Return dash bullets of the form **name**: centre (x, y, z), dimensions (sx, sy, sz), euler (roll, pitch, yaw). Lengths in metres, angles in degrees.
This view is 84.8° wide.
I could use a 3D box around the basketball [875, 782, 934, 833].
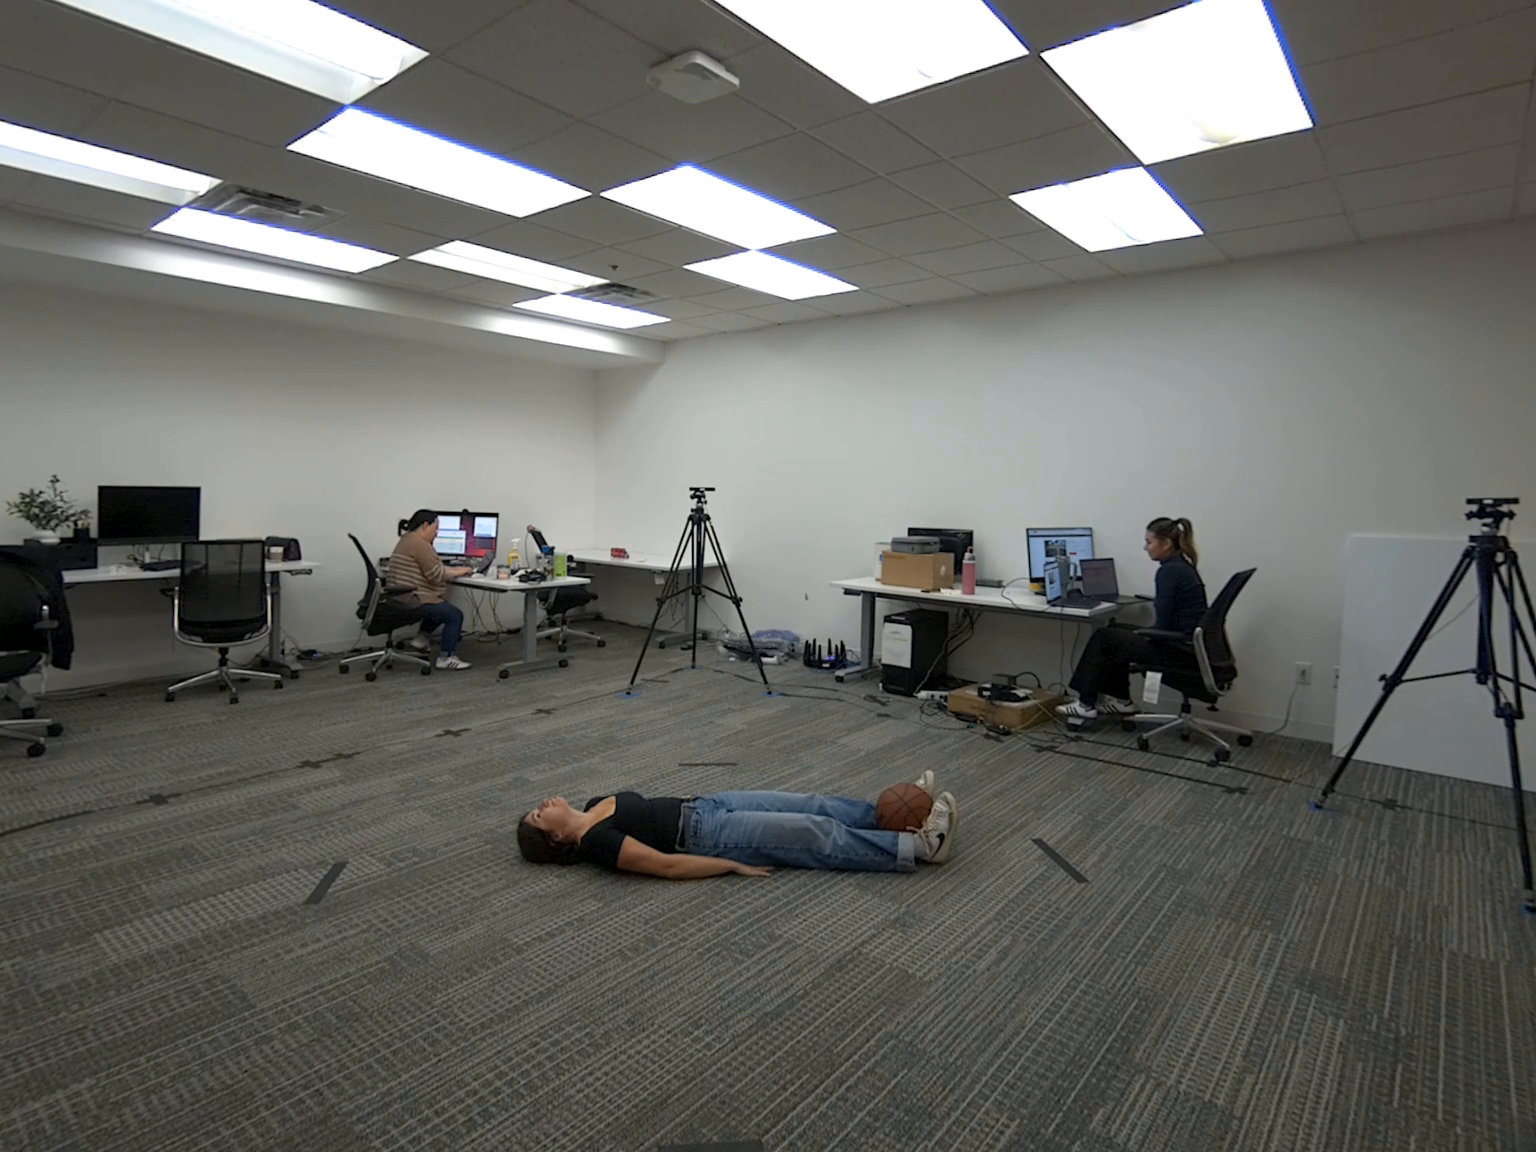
- **basketball**: centre (0.529, 0.926, 3.322), dimensions (0.235, 0.235, 0.237), euler (1, 4, -2)
